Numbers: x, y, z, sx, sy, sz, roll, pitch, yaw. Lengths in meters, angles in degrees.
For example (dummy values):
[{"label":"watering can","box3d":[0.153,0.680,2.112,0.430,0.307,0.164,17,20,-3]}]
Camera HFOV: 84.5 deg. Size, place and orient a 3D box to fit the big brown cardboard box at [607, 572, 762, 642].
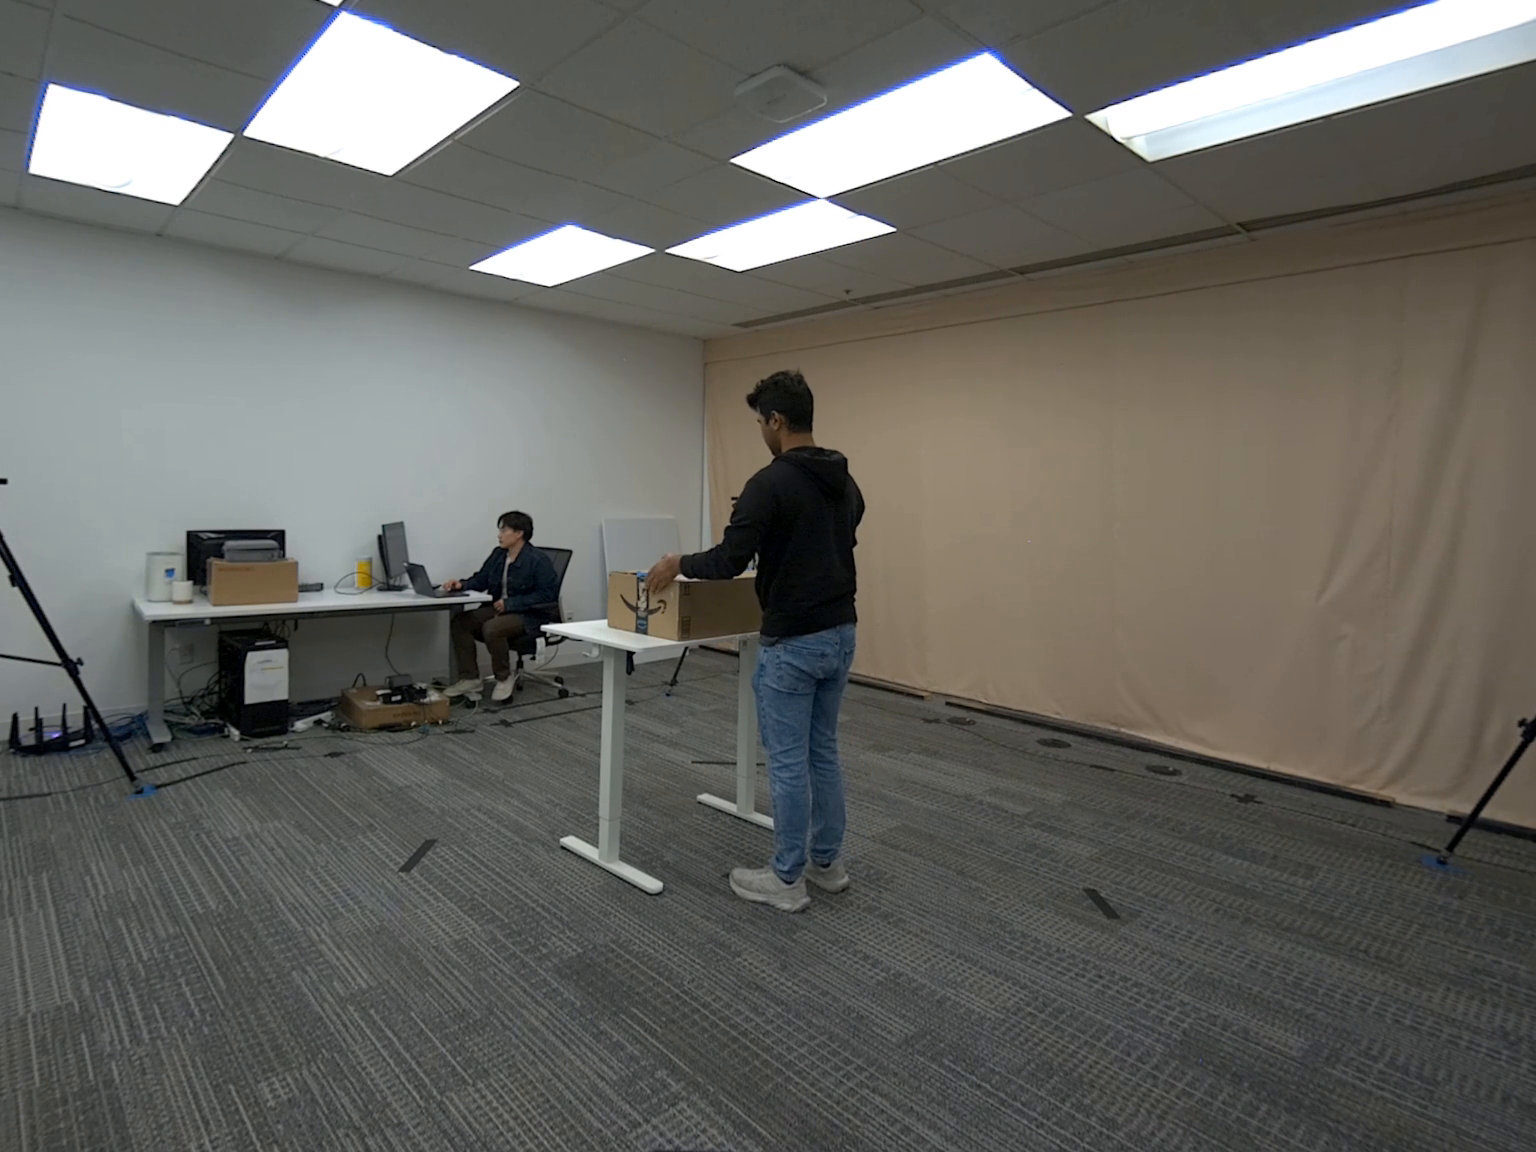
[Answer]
[{"label":"big brown cardboard box","box3d":[-0.279,0.095,3.292,0.428,0.232,0.575,6,6,43]}]
